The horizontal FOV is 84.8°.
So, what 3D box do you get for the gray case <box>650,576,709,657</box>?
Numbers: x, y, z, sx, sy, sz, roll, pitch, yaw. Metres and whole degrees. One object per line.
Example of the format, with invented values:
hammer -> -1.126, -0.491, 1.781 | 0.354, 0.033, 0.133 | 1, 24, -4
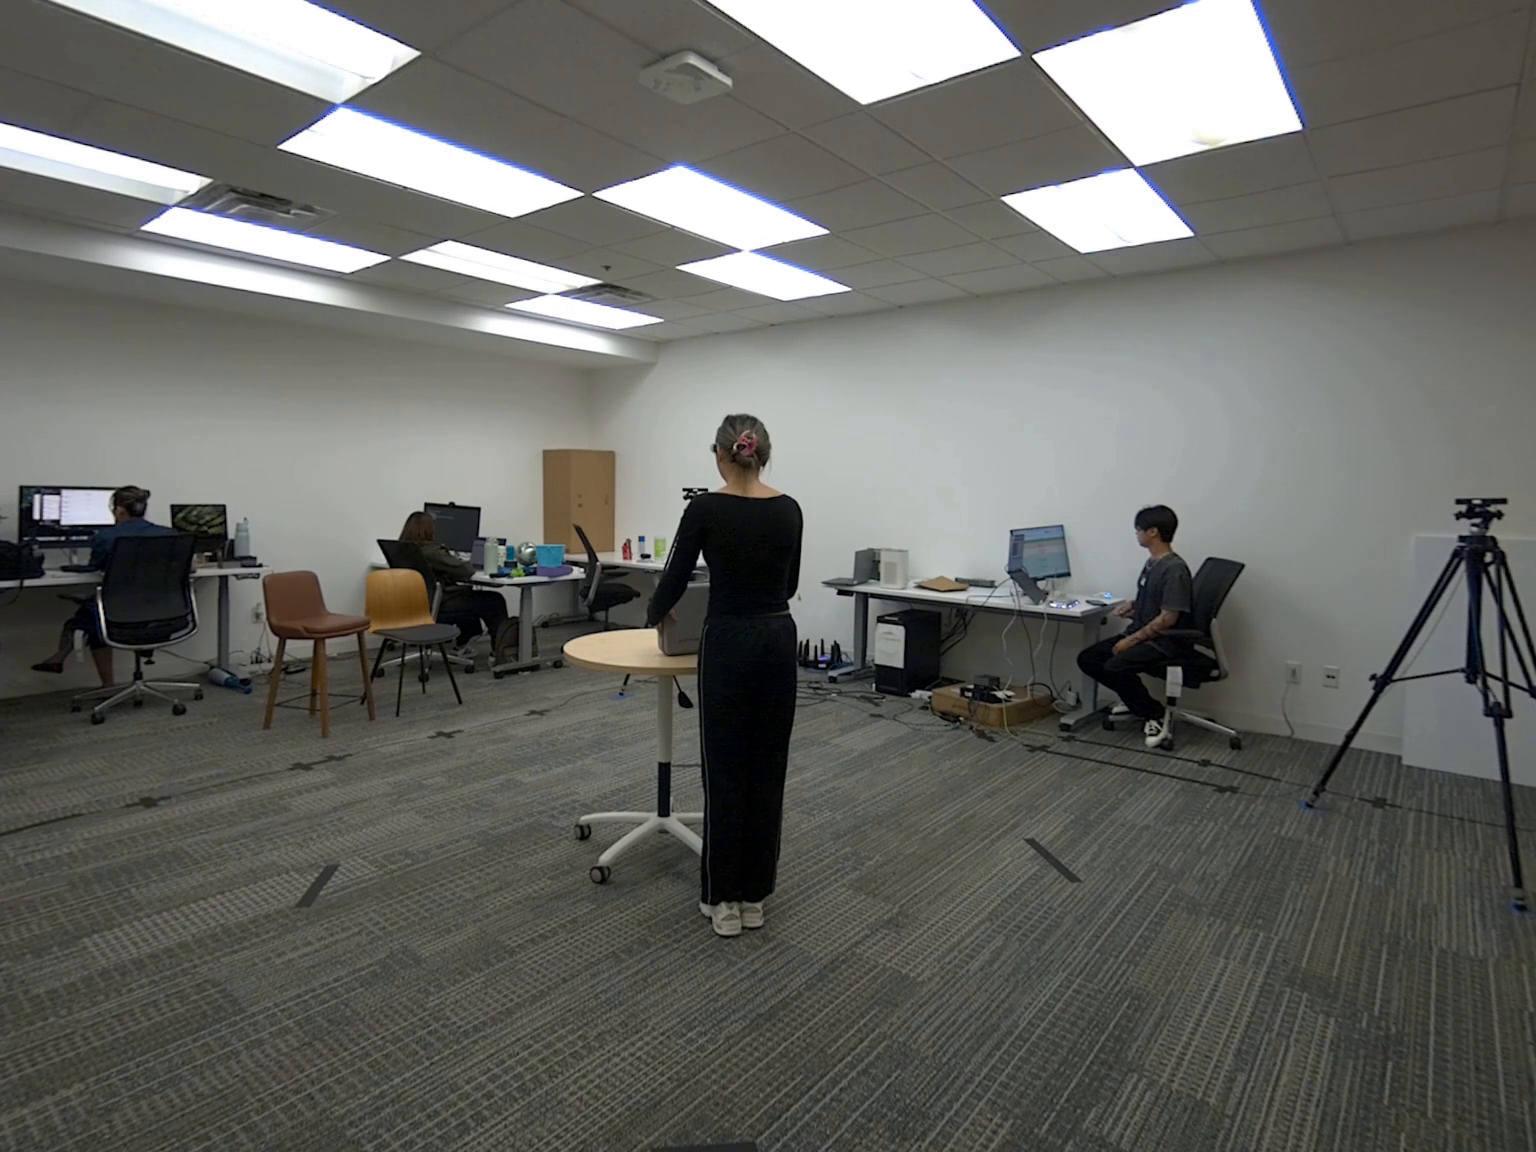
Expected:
gray case -> -0.291, 0.141, 3.093 | 0.251, 0.260, 0.107 | -4, 3, -25
